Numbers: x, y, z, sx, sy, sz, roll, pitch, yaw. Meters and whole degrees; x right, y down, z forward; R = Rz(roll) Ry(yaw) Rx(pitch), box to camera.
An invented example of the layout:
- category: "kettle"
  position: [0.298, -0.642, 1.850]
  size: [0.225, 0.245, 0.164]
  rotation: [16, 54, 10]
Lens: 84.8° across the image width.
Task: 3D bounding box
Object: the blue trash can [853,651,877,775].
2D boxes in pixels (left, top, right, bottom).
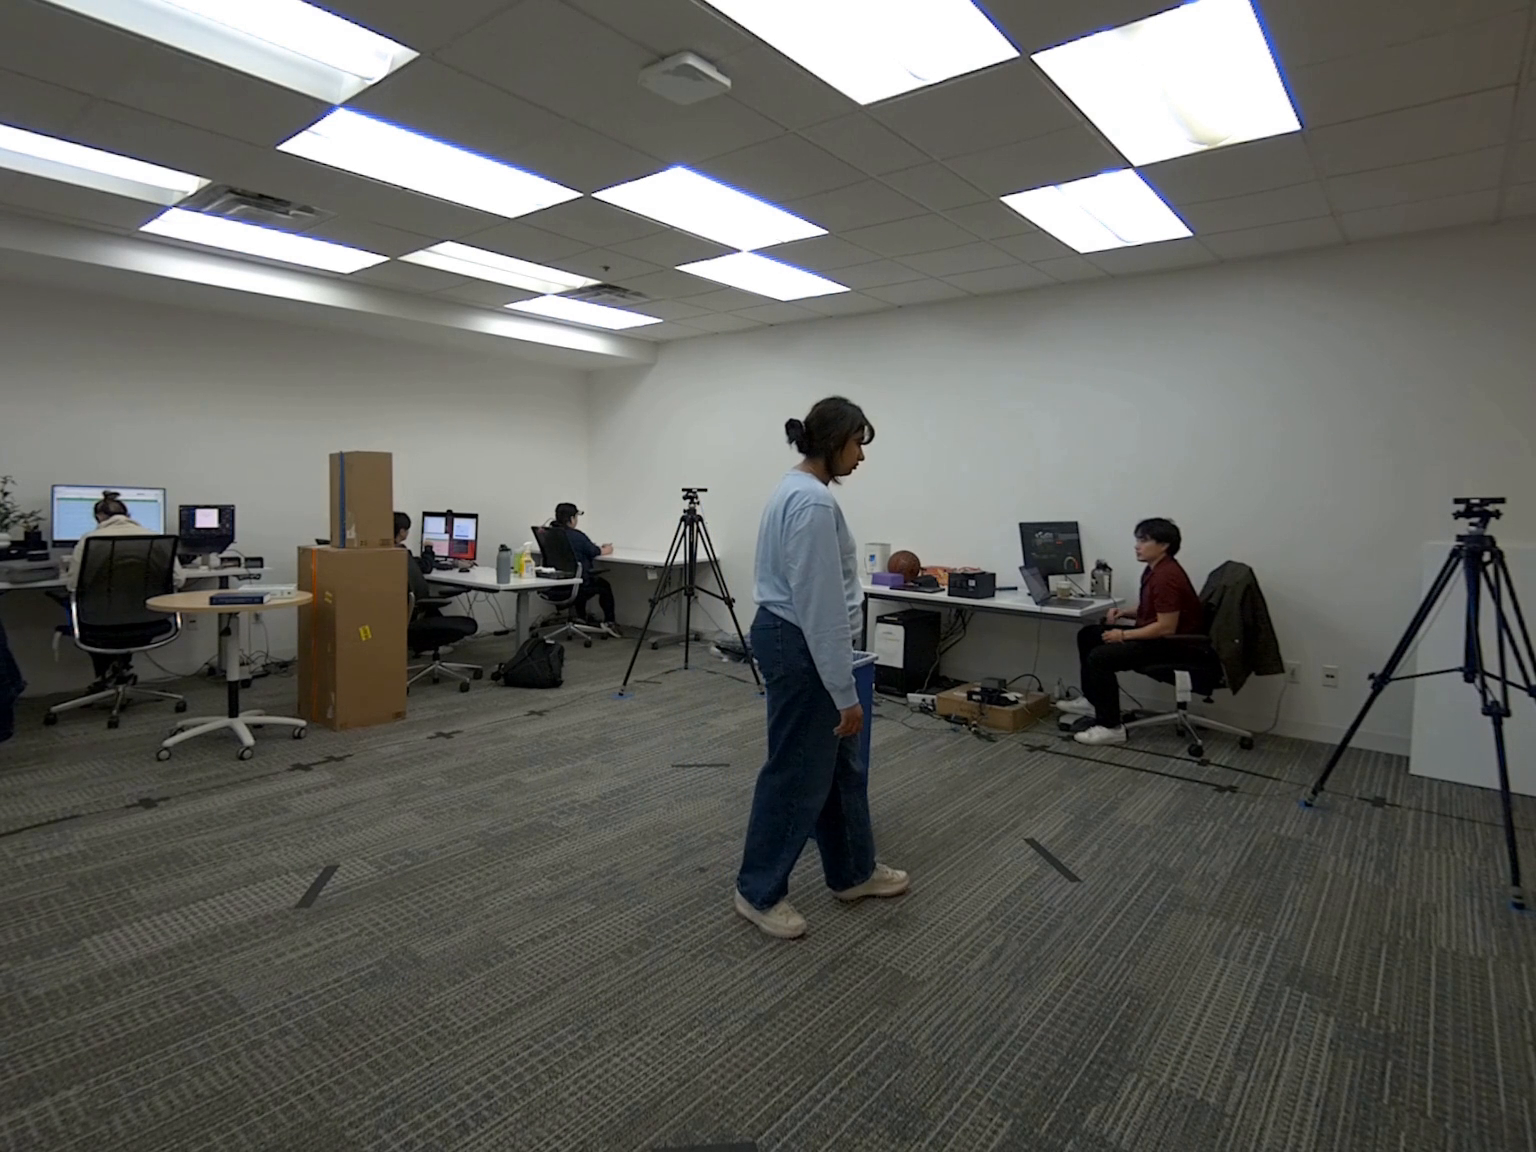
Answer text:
- category: "blue trash can"
  position: [0.197, 0.675, 3.545]
  size: [0.386, 0.711, 0.367]
  rotation: [4, 5, 35]
